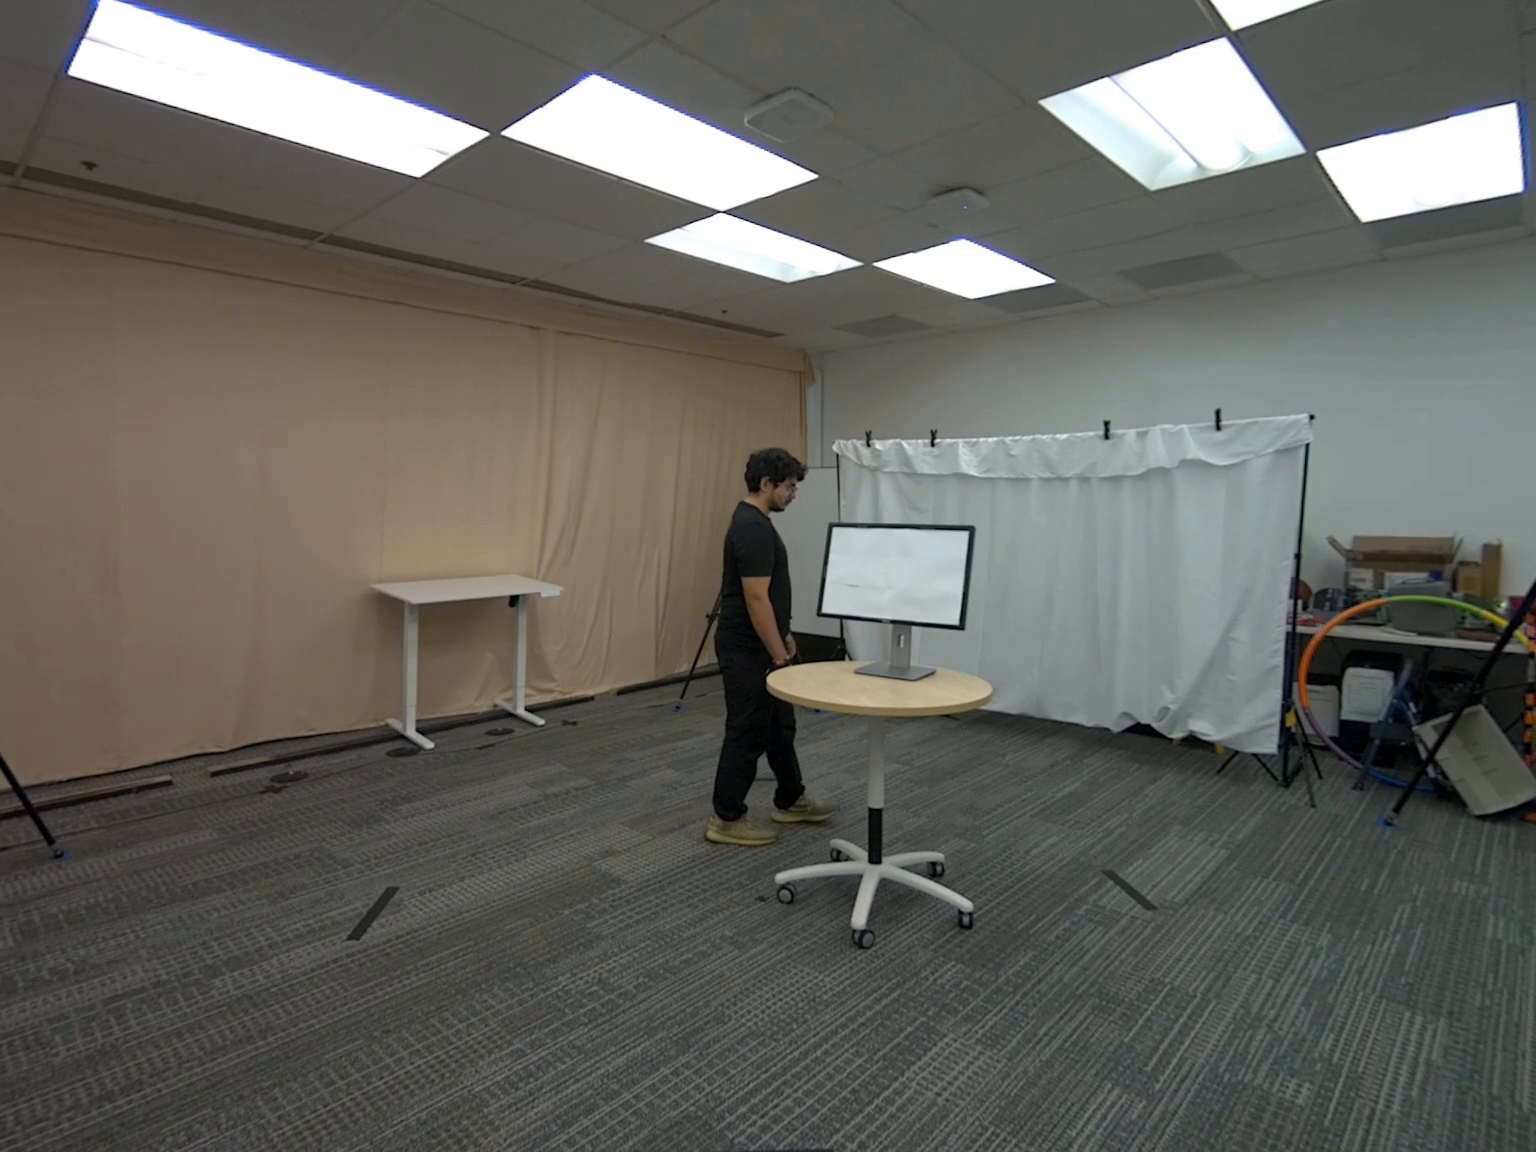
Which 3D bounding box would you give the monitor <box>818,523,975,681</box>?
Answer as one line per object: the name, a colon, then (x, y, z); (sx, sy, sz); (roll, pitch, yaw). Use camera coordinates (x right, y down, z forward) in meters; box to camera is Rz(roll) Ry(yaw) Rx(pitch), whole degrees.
monitor: (0.488, 0.087, 3.080); (0.582, 0.555, 0.203); (2, -3, 33)
